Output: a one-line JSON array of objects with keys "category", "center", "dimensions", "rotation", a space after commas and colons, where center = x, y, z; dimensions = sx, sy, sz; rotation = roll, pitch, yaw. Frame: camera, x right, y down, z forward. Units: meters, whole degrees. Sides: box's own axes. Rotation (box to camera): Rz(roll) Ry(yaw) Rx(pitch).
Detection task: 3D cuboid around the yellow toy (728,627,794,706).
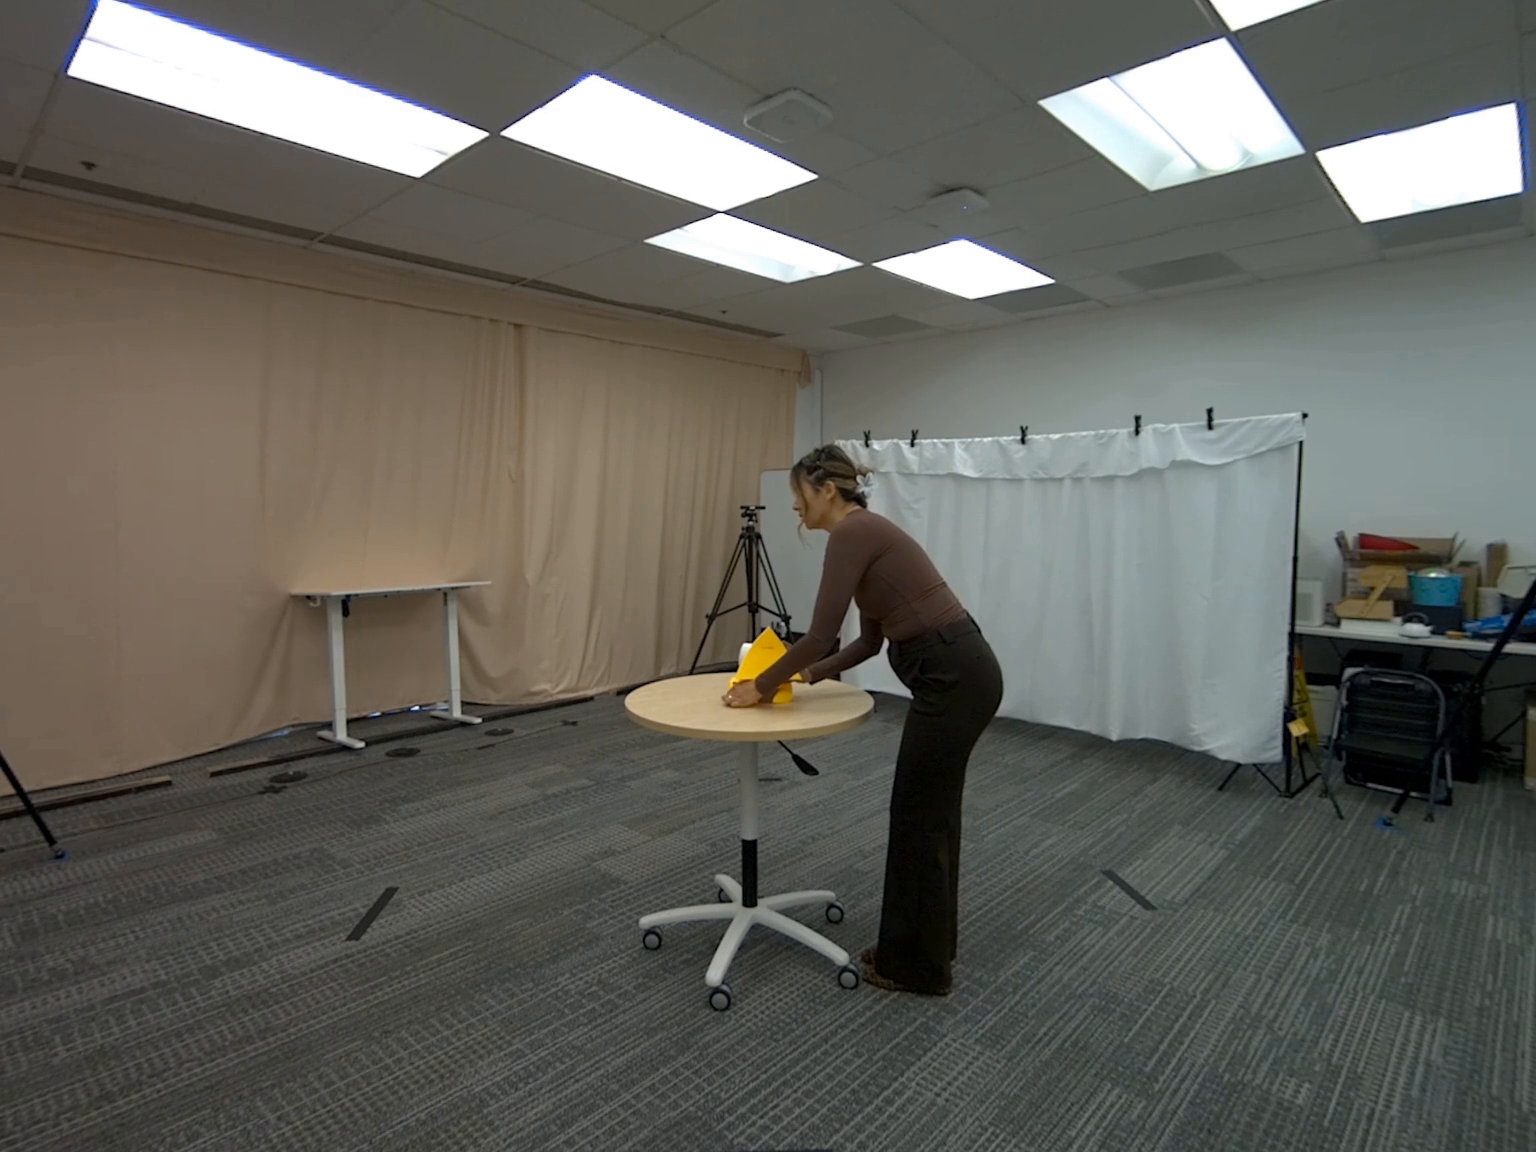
[{"category": "yellow toy", "center": [-0.019, 0.263, 2.583], "dimensions": [0.202, 0.230, 0.197], "rotation": [1, 5, -15]}]
